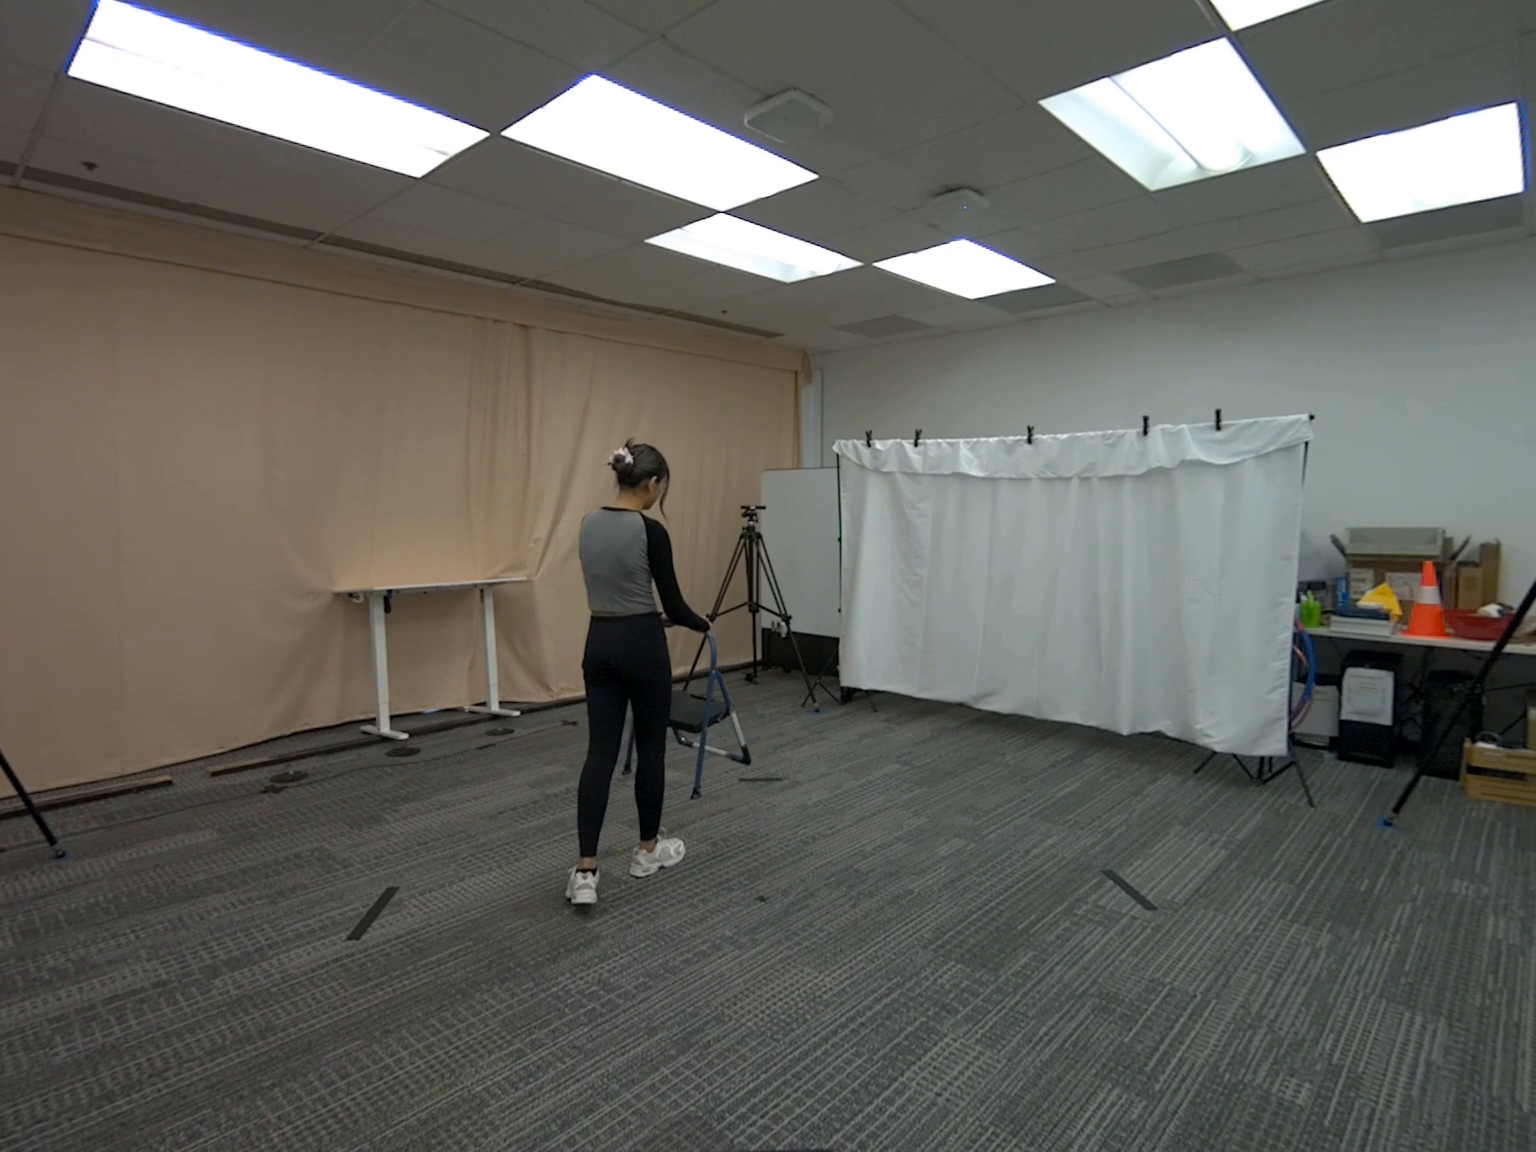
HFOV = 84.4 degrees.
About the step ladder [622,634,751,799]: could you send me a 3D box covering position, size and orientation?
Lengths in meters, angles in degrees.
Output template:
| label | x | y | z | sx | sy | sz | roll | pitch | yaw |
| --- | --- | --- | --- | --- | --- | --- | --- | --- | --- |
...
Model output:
| label | x | y | z | sx | sy | sz | roll | pitch | yaw |
| --- | --- | --- | --- | --- | --- | --- | --- | --- | --- |
| step ladder | -0.350 | 0.490 | 3.380 | 0.445 | 0.601 | 0.340 | 5 | 15 | 40 |
